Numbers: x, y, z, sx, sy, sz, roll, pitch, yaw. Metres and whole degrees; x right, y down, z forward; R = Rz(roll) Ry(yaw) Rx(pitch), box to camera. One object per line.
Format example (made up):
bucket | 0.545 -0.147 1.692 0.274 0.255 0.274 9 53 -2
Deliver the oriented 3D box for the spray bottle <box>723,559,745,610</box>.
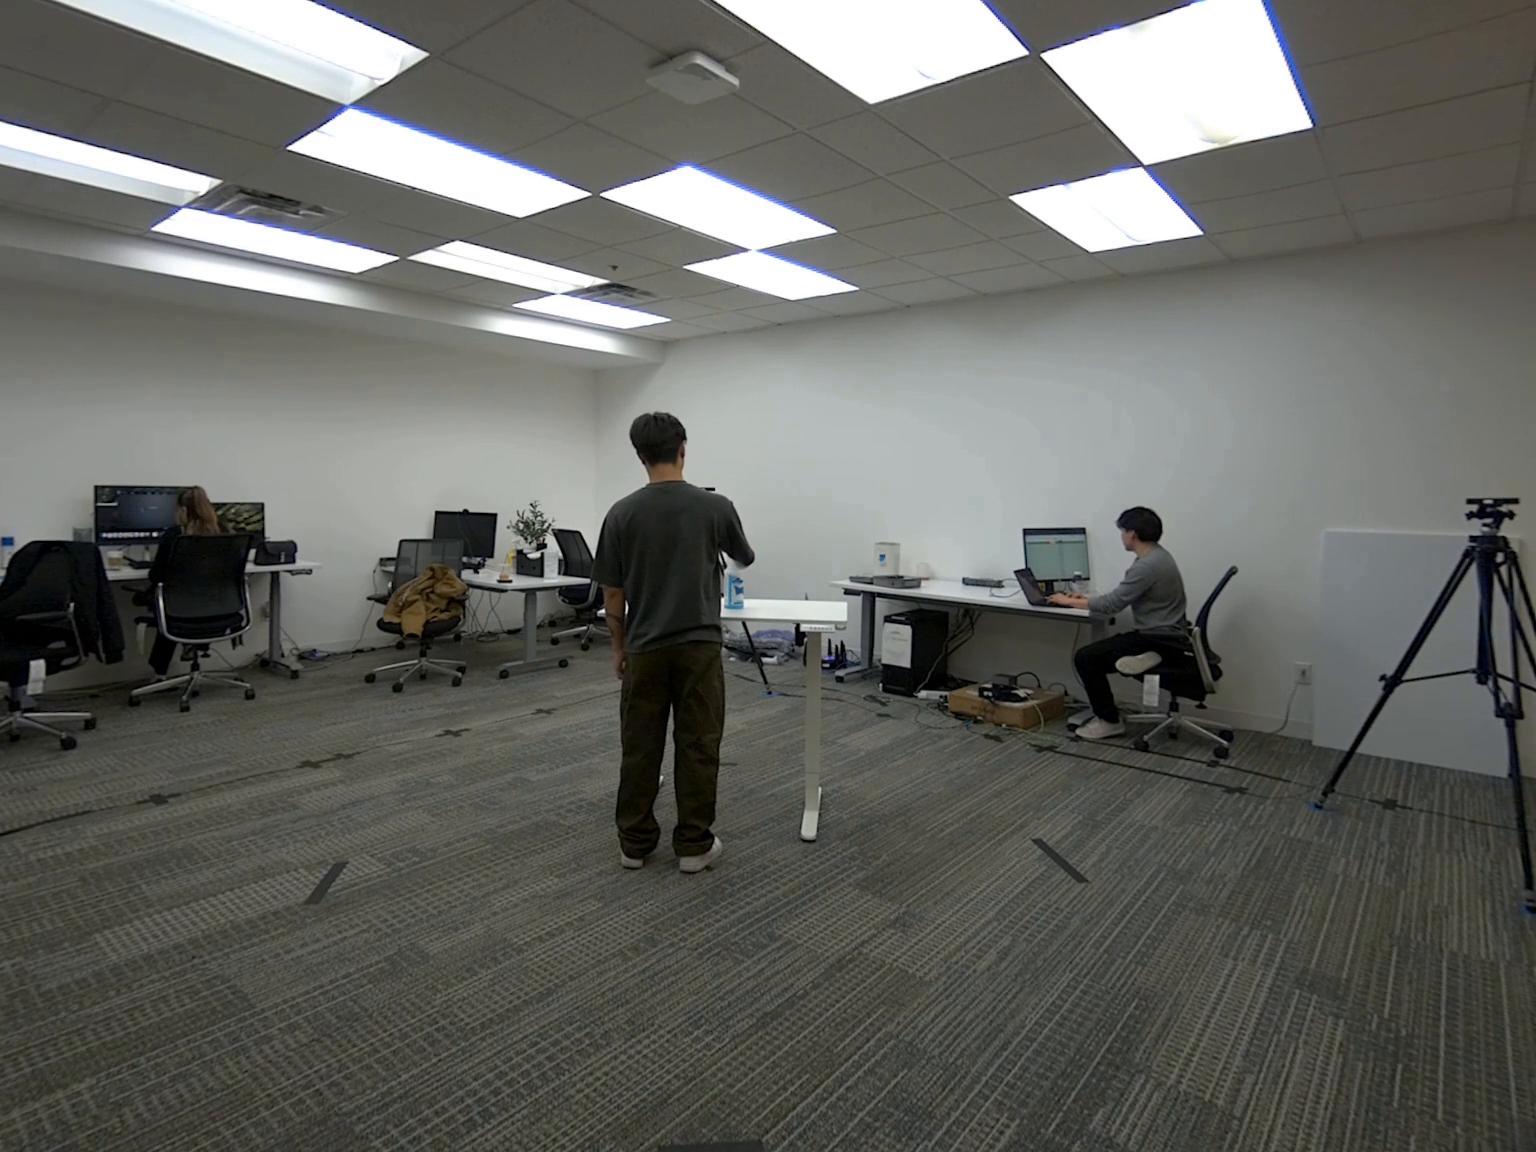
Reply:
spray bottle | -0.154 -0.011 3.645 0.089 0.298 0.088 -1 -2 21
